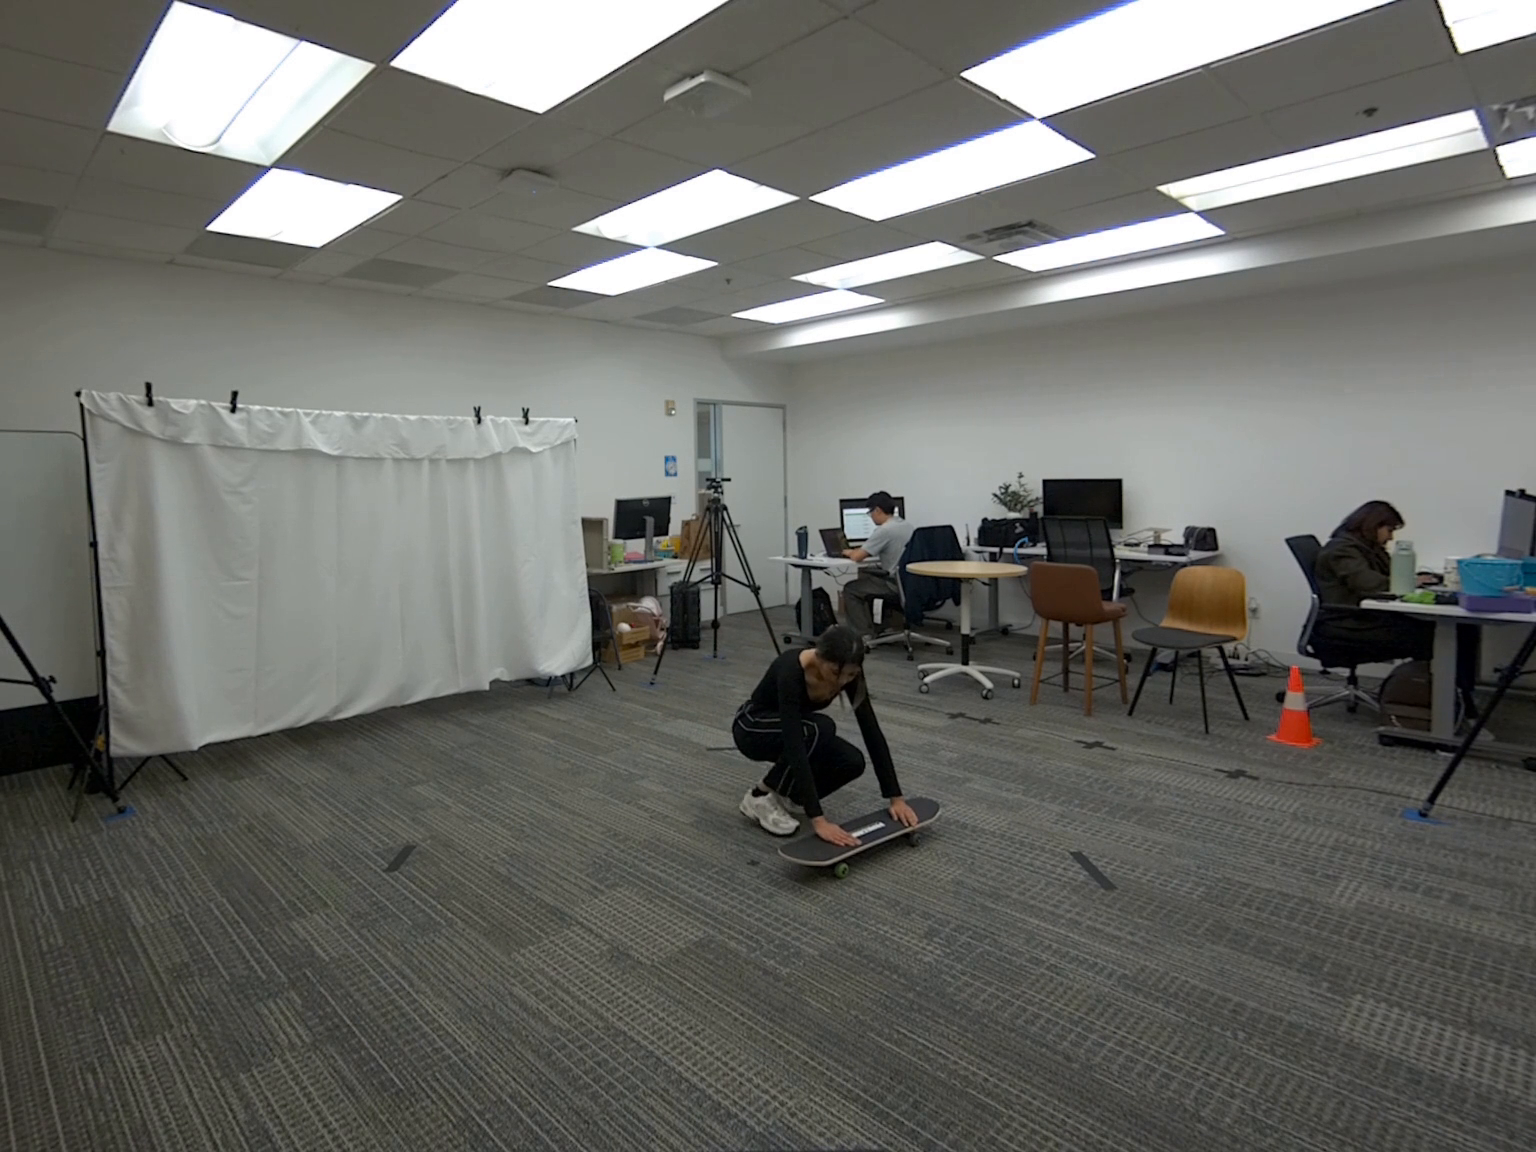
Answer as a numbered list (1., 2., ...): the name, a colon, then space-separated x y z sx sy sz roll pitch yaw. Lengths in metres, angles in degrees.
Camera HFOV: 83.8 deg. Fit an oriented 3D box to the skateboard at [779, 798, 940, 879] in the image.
1. skateboard: 0.356 0.977 3.161 0.765 0.110 0.199 -6 9 -39
